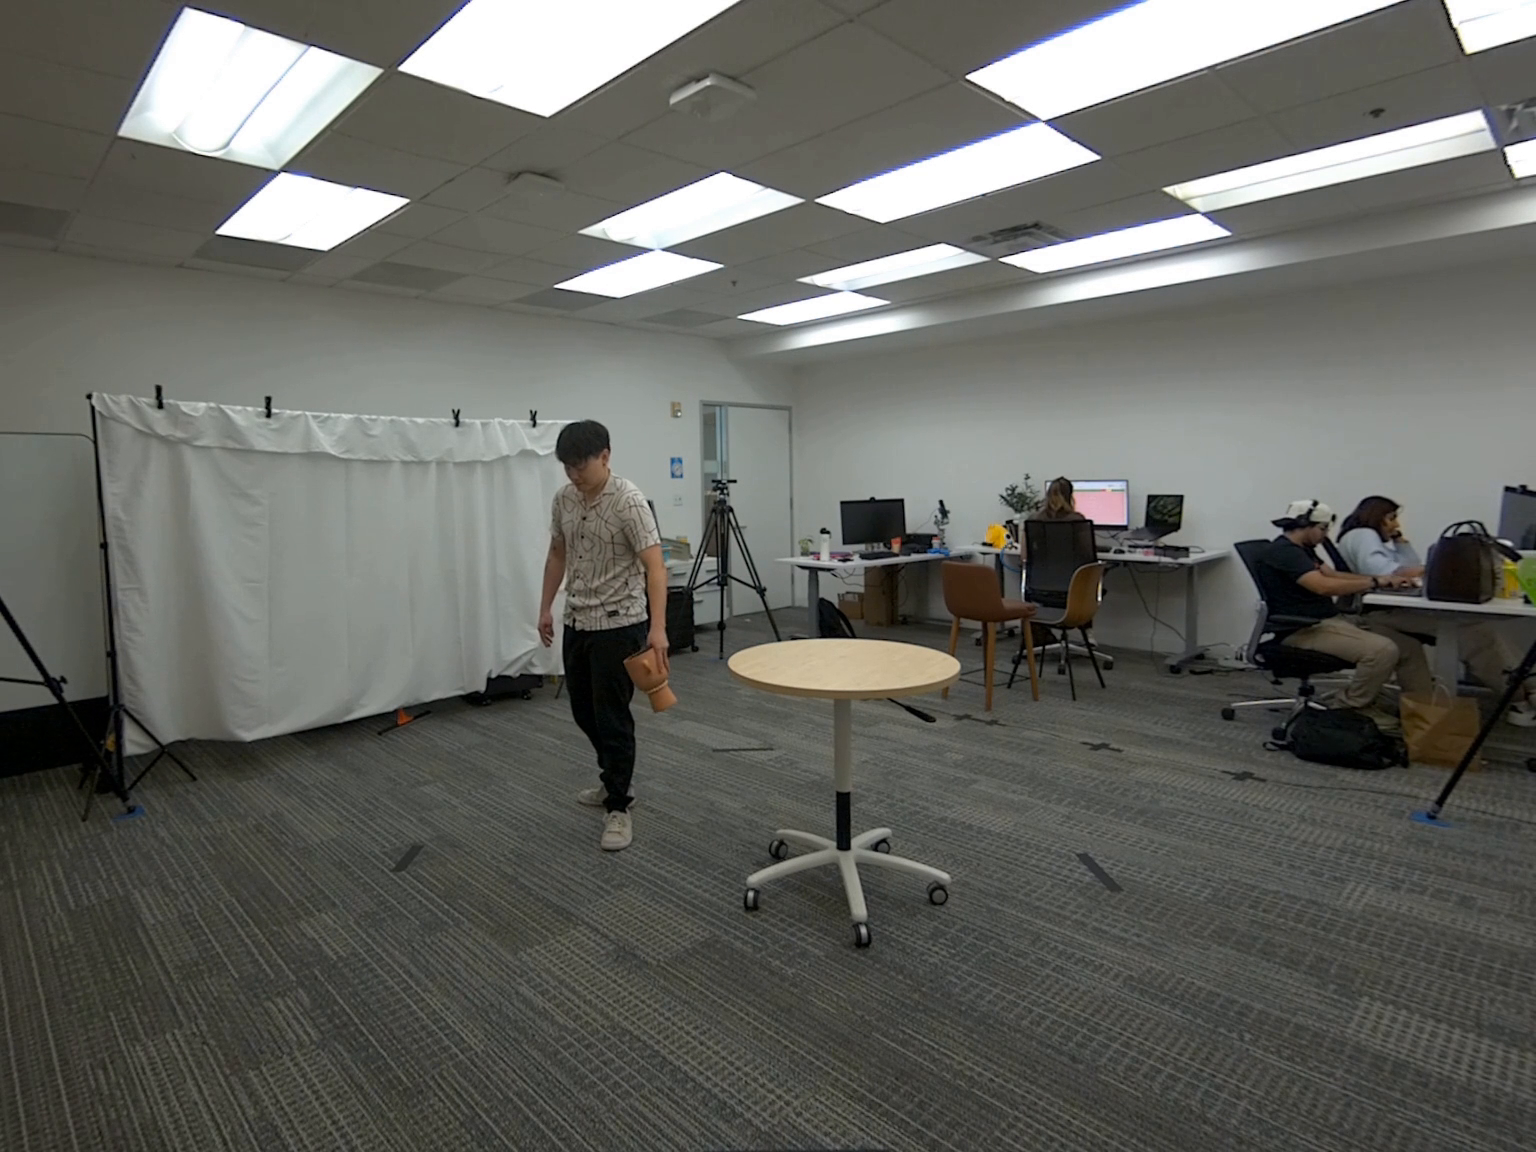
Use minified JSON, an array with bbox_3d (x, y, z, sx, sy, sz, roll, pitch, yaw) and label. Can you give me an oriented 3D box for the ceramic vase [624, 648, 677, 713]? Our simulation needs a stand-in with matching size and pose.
[{"bbox_3d":[-0.425,0.382,3.166,0.136,0.219,0.157,-24,2,25],"label":"ceramic vase"}]
